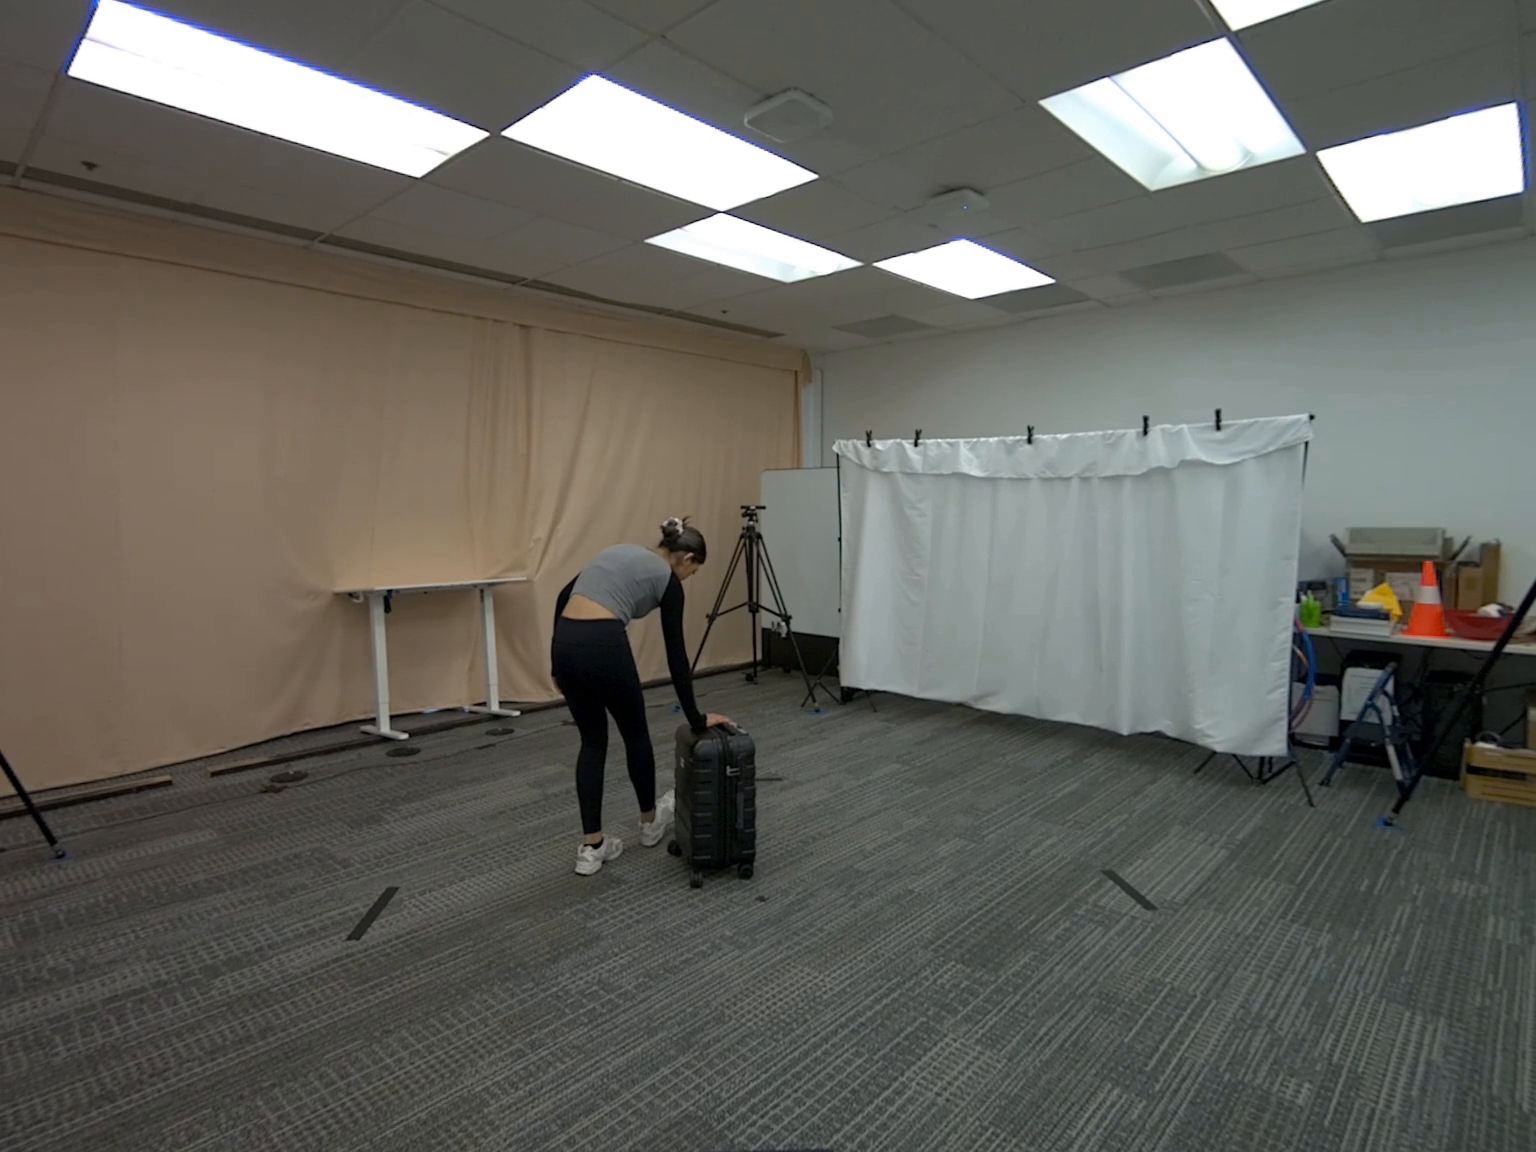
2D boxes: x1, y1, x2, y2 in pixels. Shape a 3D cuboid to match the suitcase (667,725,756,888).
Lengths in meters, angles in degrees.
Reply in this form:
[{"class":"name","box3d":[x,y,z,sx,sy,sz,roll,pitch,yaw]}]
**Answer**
[{"class":"suitcase","box3d":[-0.205,0.844,3.254,0.244,0.548,0.383,0,3,-19]}]
